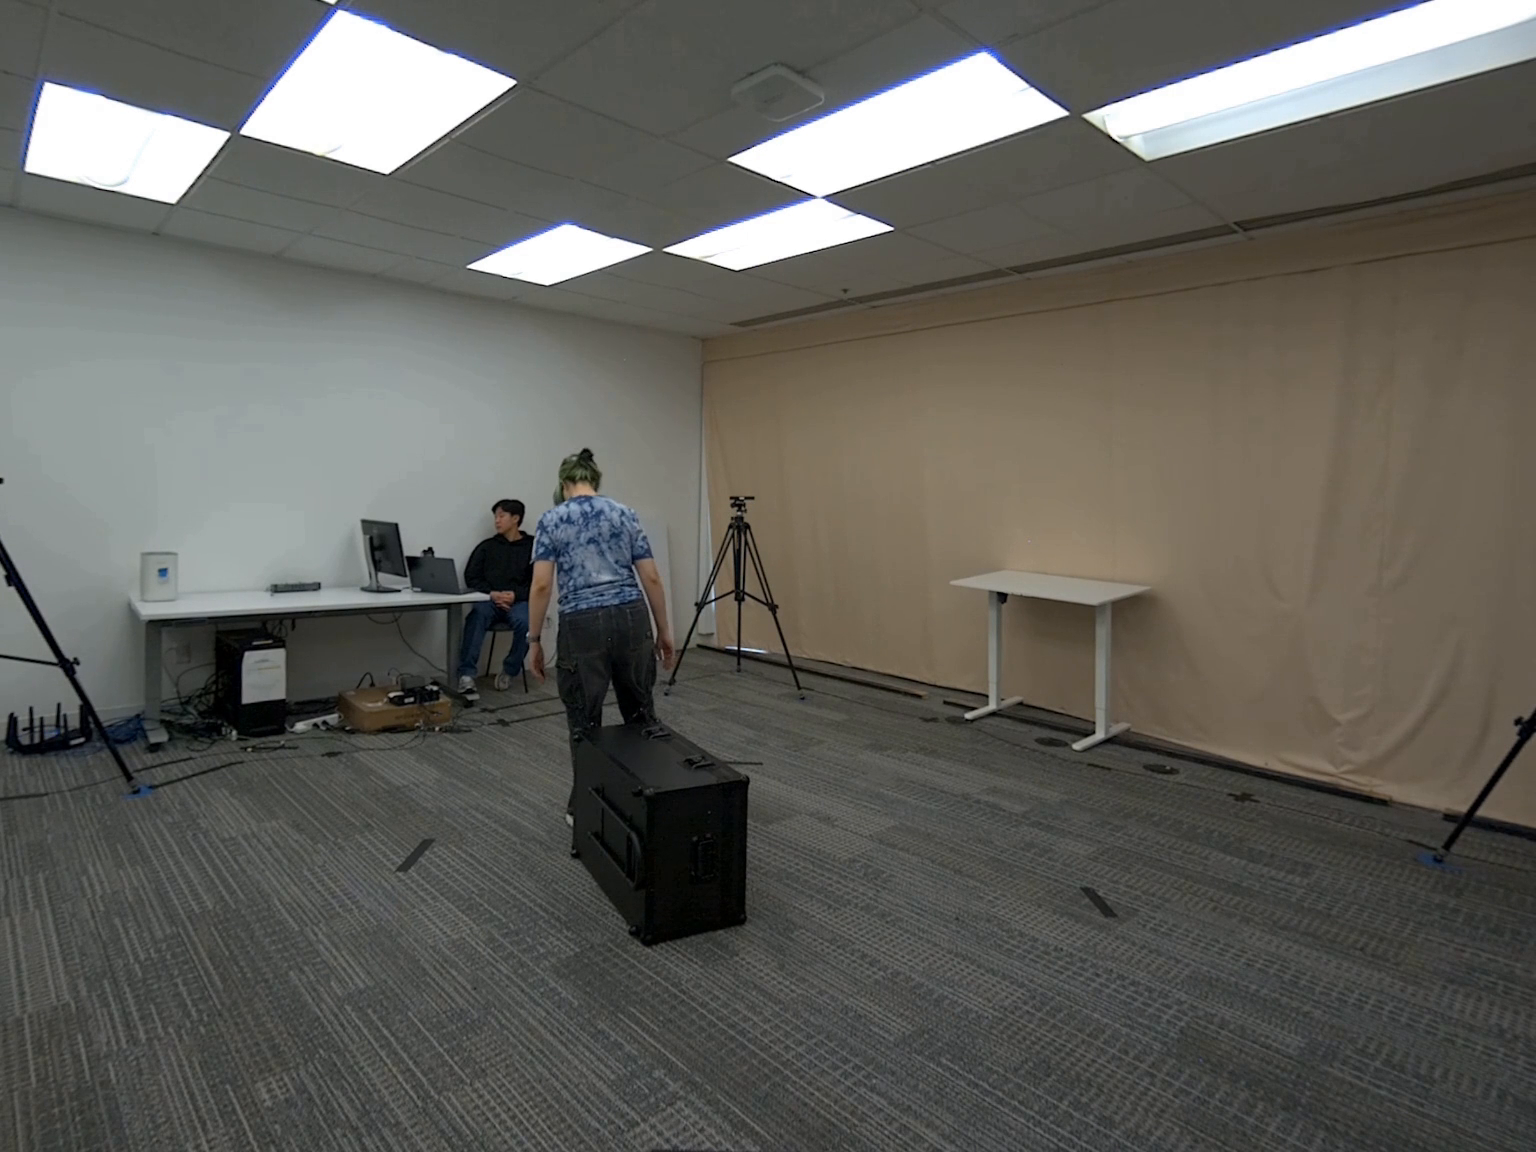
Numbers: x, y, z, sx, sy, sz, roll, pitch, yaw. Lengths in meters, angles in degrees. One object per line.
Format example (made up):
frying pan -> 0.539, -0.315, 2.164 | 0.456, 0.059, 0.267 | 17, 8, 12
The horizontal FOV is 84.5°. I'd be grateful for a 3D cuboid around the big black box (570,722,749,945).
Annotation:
big black box -> -0.438, 0.863, 3.017 | 0.389, 0.520, 0.880 | 0, 4, -28
